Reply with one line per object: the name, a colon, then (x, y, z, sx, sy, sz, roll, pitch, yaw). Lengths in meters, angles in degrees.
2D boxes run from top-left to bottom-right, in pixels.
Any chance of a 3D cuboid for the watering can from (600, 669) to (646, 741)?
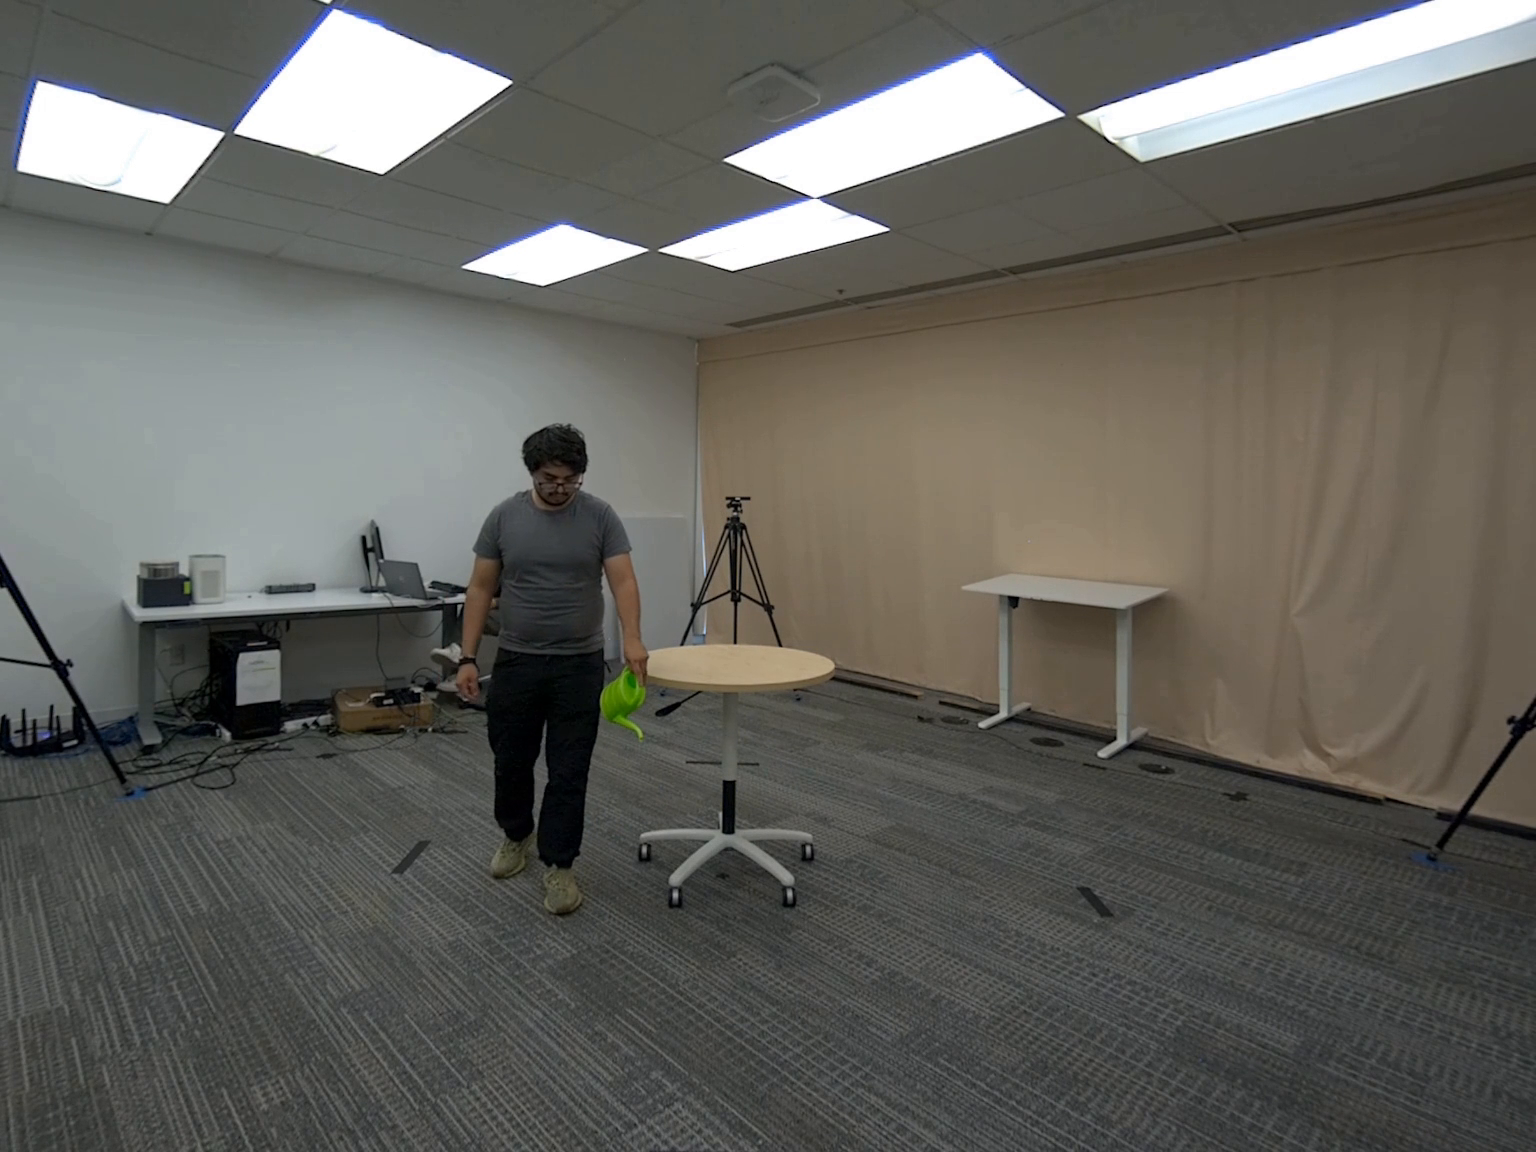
watering can: (-0.464, 0.408, 2.644, 0.096, 0.282, 0.177, 30, -44, -17)
